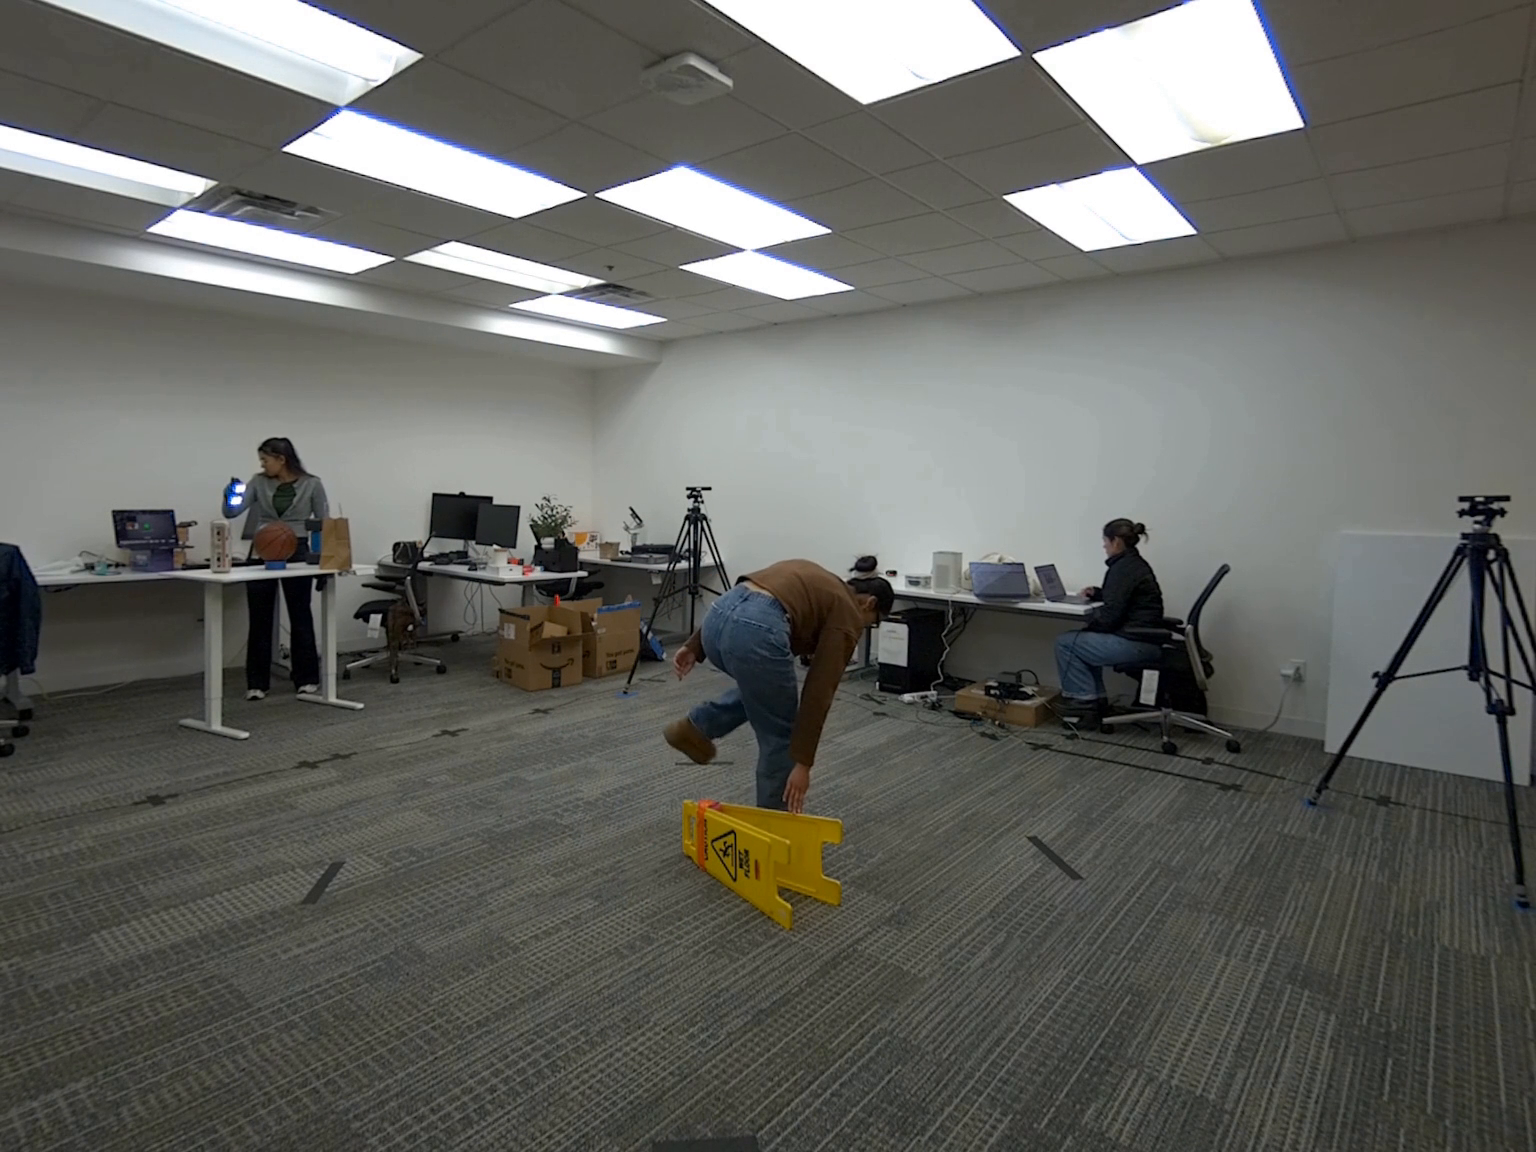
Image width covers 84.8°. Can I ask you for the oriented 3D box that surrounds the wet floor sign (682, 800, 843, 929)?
[{"bbox_3d":[-0.090,0.953,2.989,0.667,0.282,0.281,2,3,44],"label":"wet floor sign"}]
